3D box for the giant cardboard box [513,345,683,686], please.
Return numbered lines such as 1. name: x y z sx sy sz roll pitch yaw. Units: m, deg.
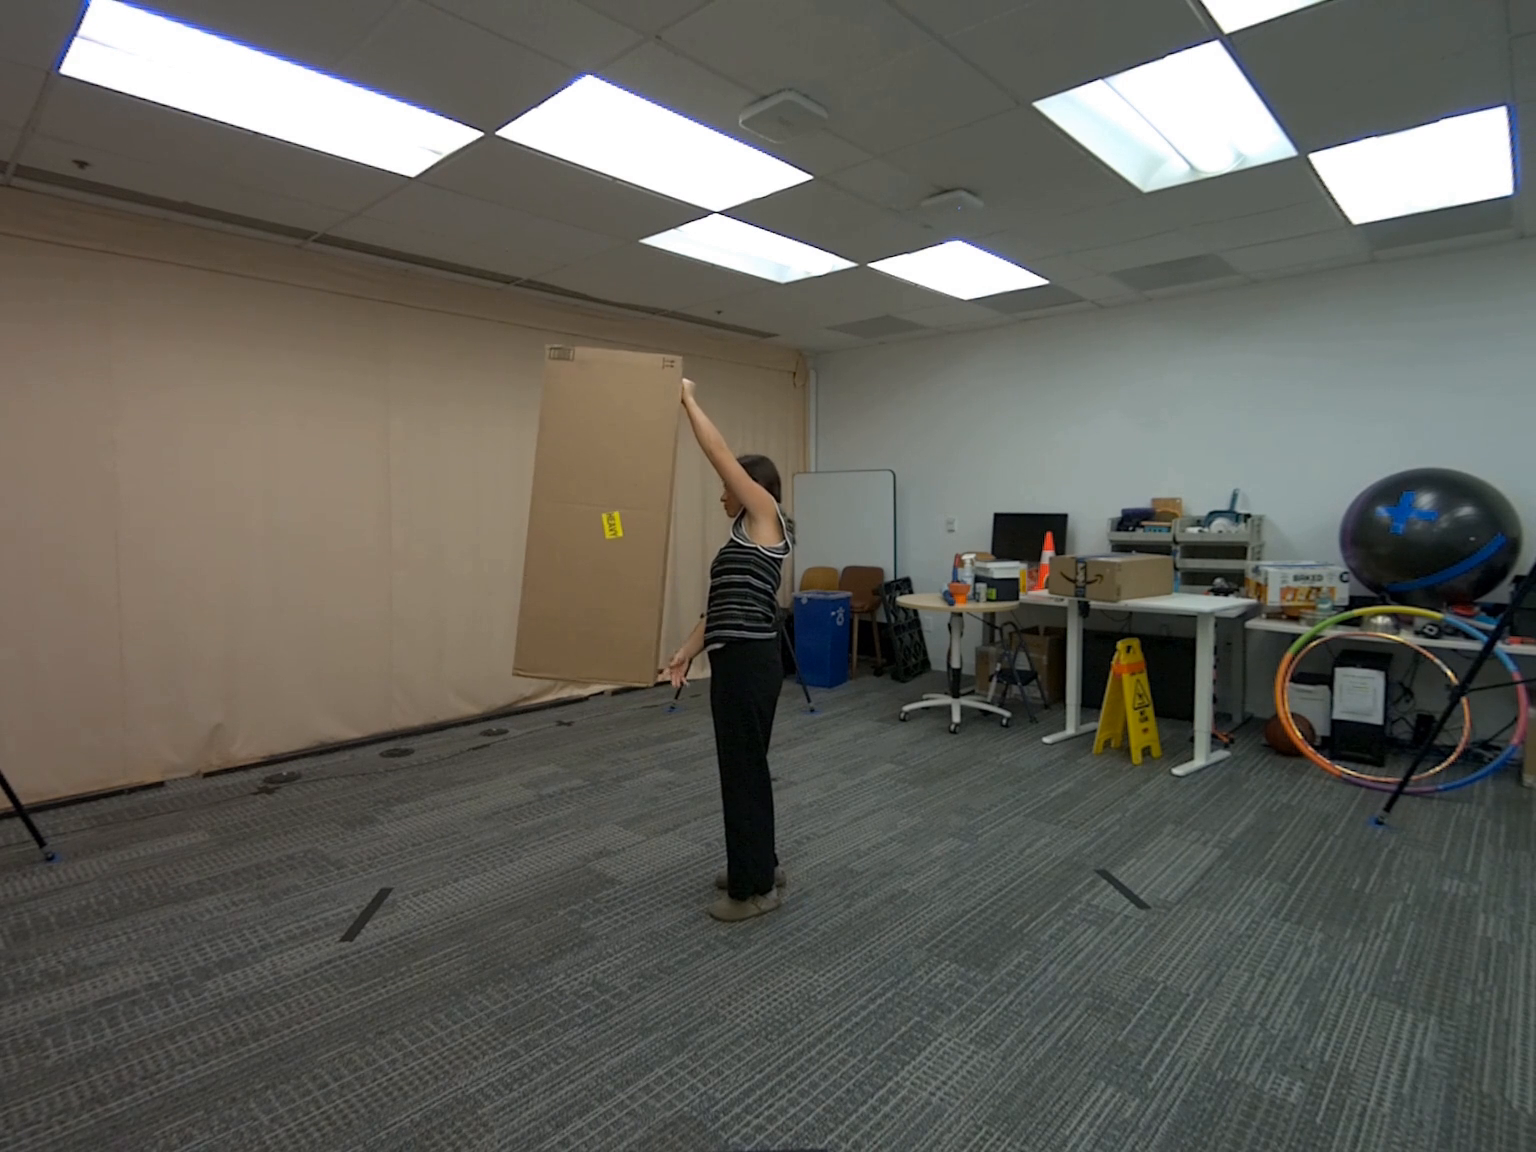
1. giant cardboard box: -0.540 -0.172 2.842 0.424 1.028 0.578 5 -4 -5
